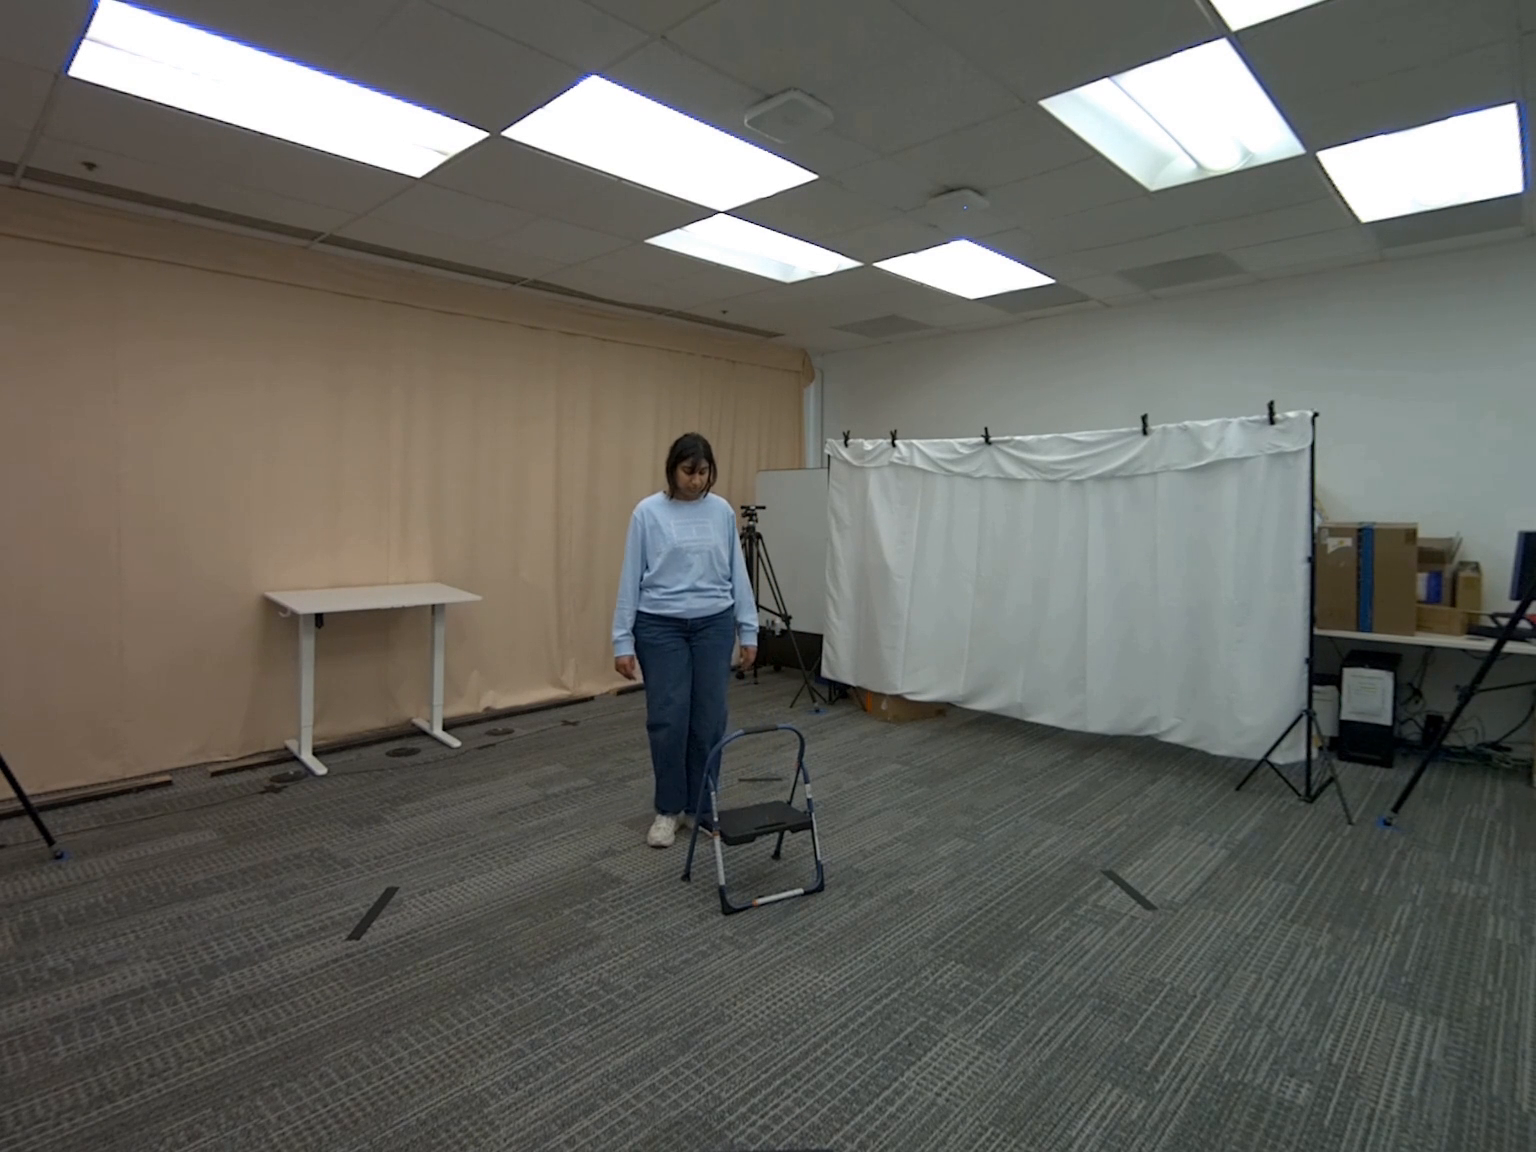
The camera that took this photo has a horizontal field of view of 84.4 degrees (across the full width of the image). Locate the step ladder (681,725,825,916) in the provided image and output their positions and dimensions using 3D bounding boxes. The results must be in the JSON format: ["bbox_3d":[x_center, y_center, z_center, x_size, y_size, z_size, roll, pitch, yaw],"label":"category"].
[{"bbox_3d":[-0.054,0.833,3.081,0.419,0.605,0.359,-2,4,-30],"label":"step ladder"}]
